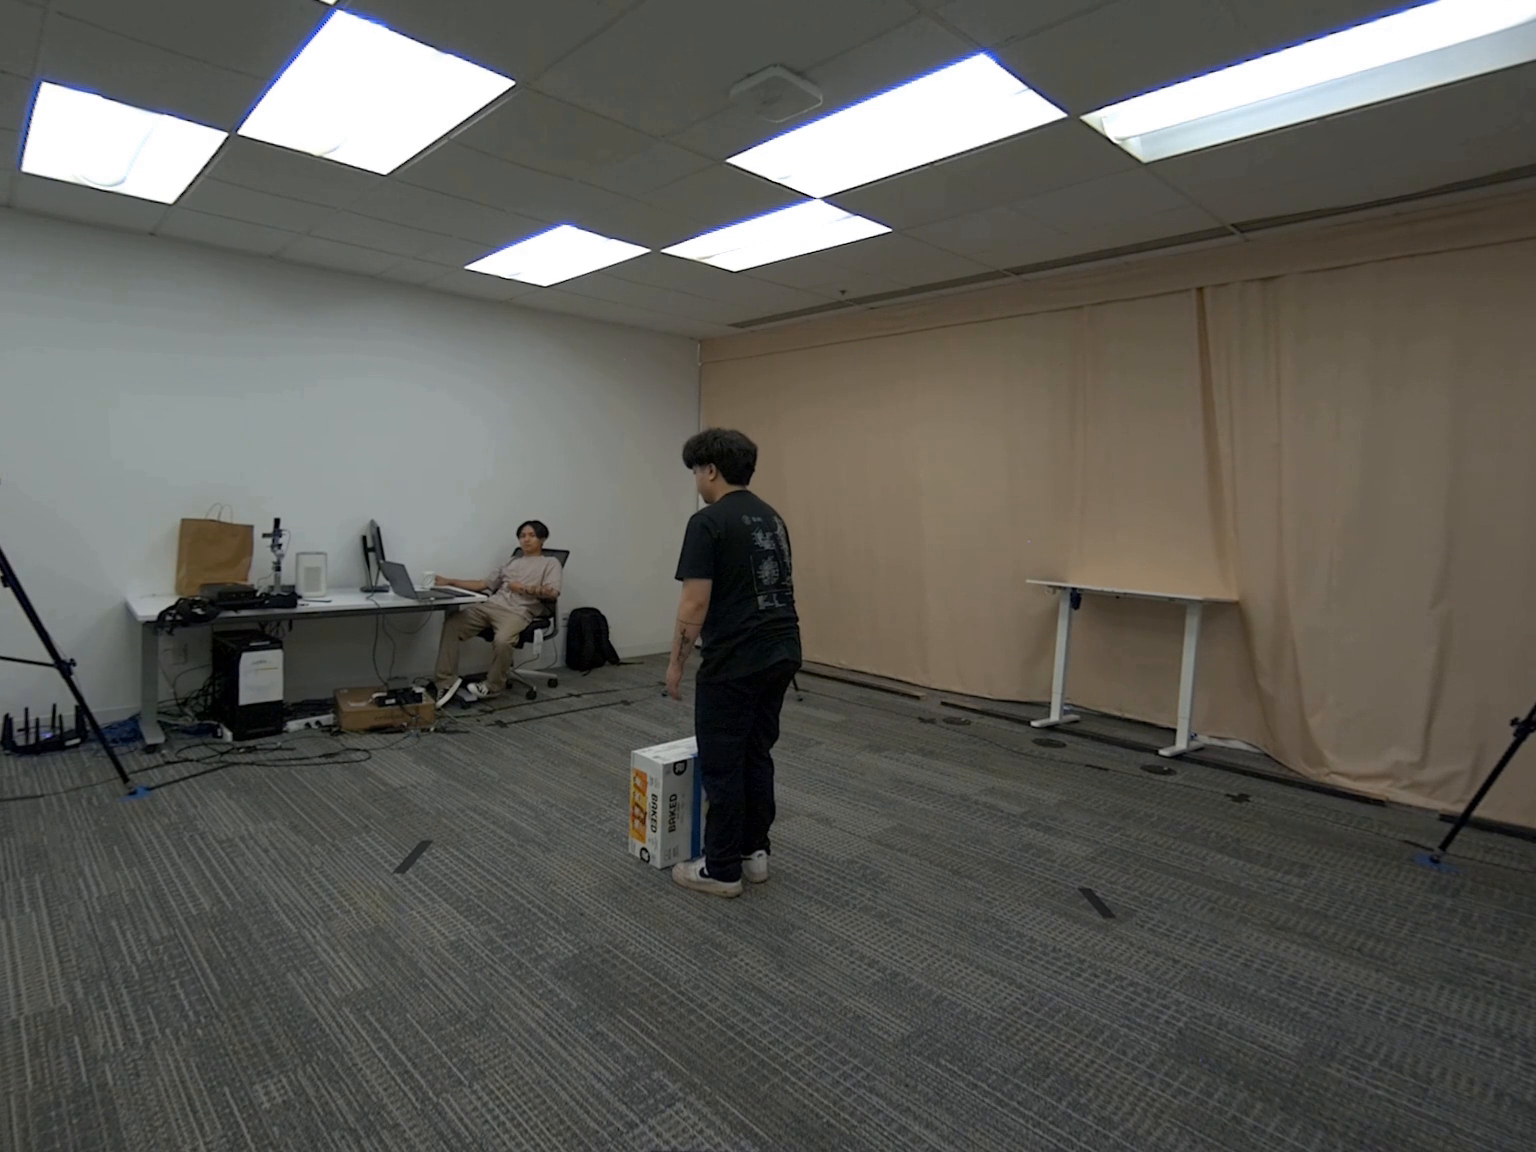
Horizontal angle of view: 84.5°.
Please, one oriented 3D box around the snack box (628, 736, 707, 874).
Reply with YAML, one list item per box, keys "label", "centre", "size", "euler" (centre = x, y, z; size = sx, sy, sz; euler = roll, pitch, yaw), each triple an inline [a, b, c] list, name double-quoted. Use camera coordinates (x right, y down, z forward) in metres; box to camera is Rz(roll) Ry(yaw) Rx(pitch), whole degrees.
- label: "snack box"
  centre: [-0.347, 0.880, 3.315]
  size: [0.332, 0.404, 0.211]
  euler: [-3, 5, -45]
